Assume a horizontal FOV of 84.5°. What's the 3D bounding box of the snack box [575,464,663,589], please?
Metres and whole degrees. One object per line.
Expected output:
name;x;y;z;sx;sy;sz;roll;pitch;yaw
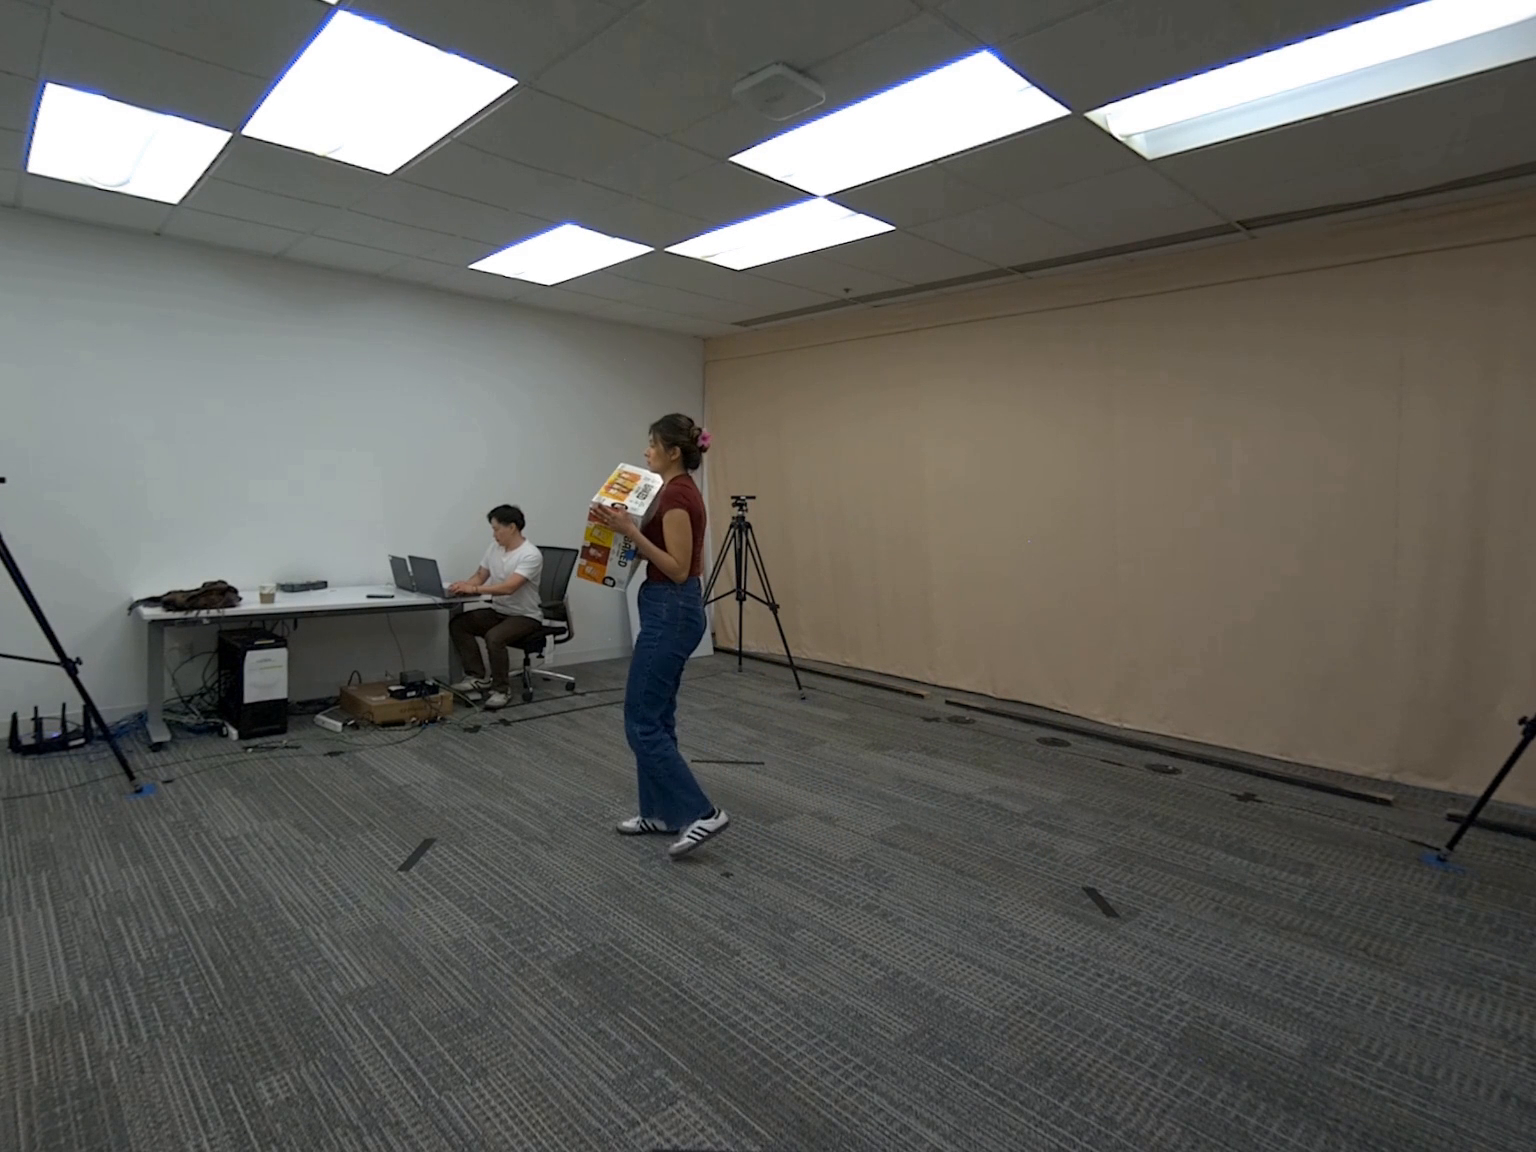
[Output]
snack box;-0.581;-0.200;3.362;0.206;0.336;0.410;17;28;-1
